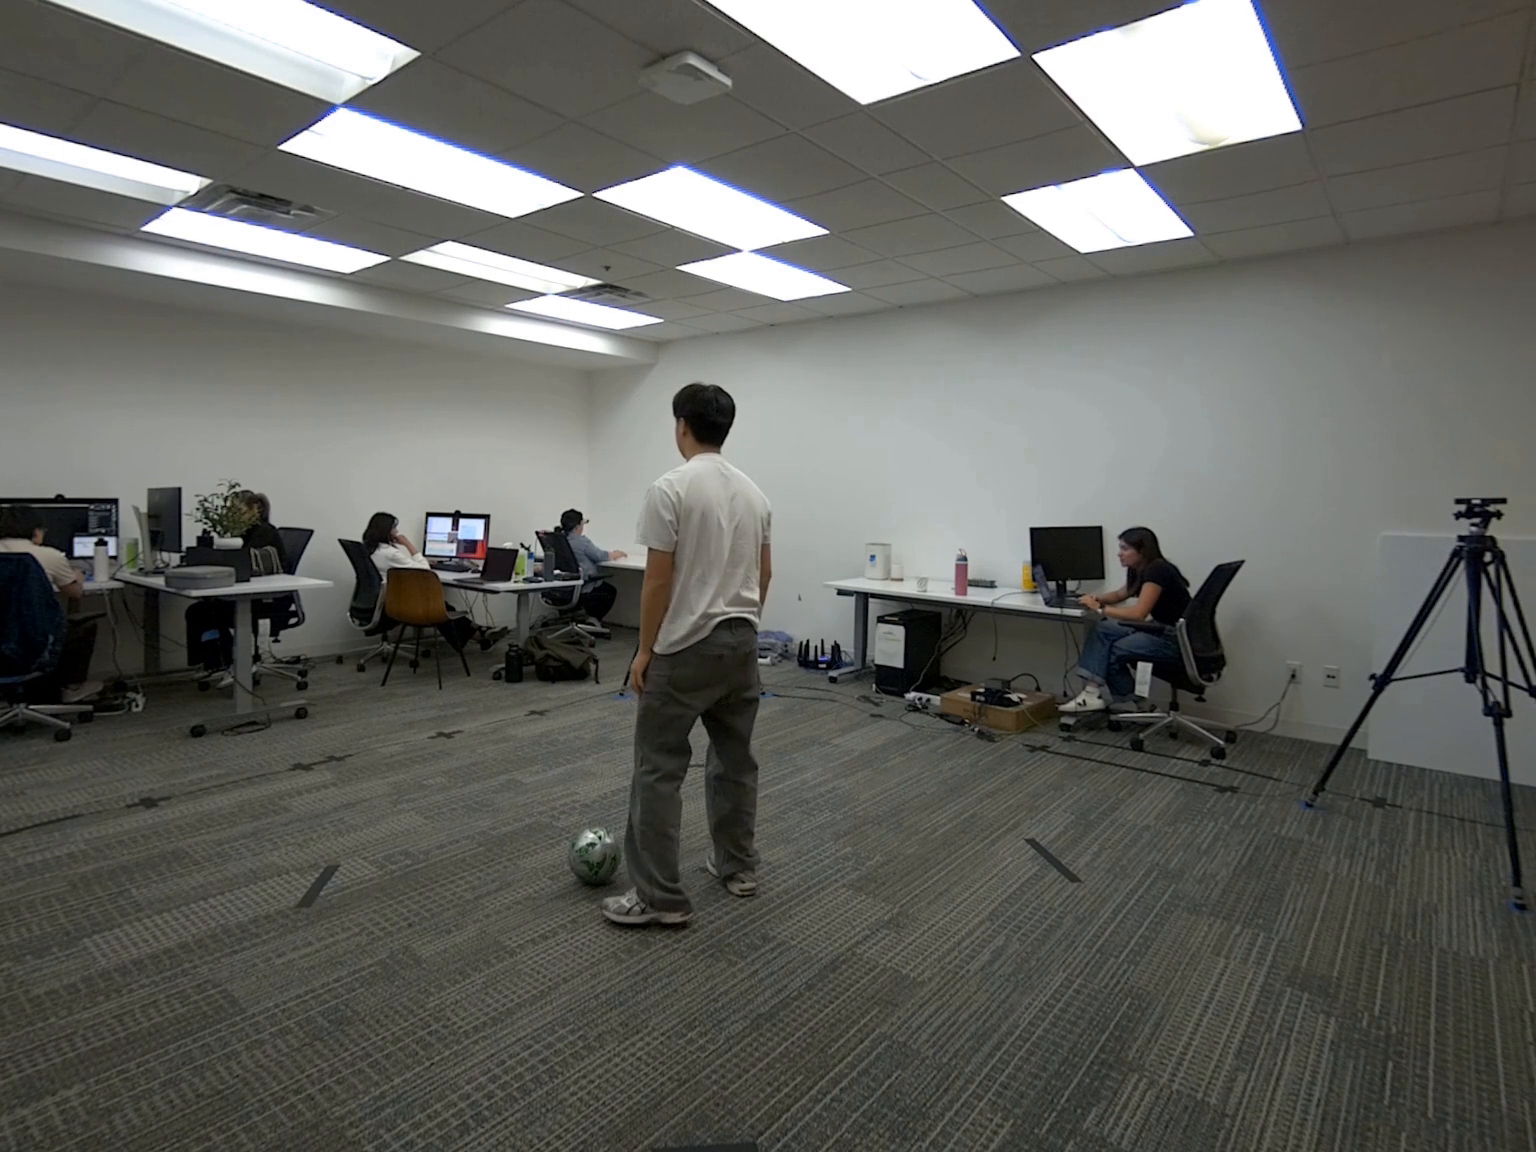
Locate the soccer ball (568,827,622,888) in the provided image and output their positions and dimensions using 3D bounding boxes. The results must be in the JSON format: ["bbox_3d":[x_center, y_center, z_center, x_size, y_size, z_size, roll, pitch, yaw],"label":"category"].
[{"bbox_3d":[-0.609,0.981,3.009,0.187,0.187,0.188,1,4,-2],"label":"soccer ball"}]
